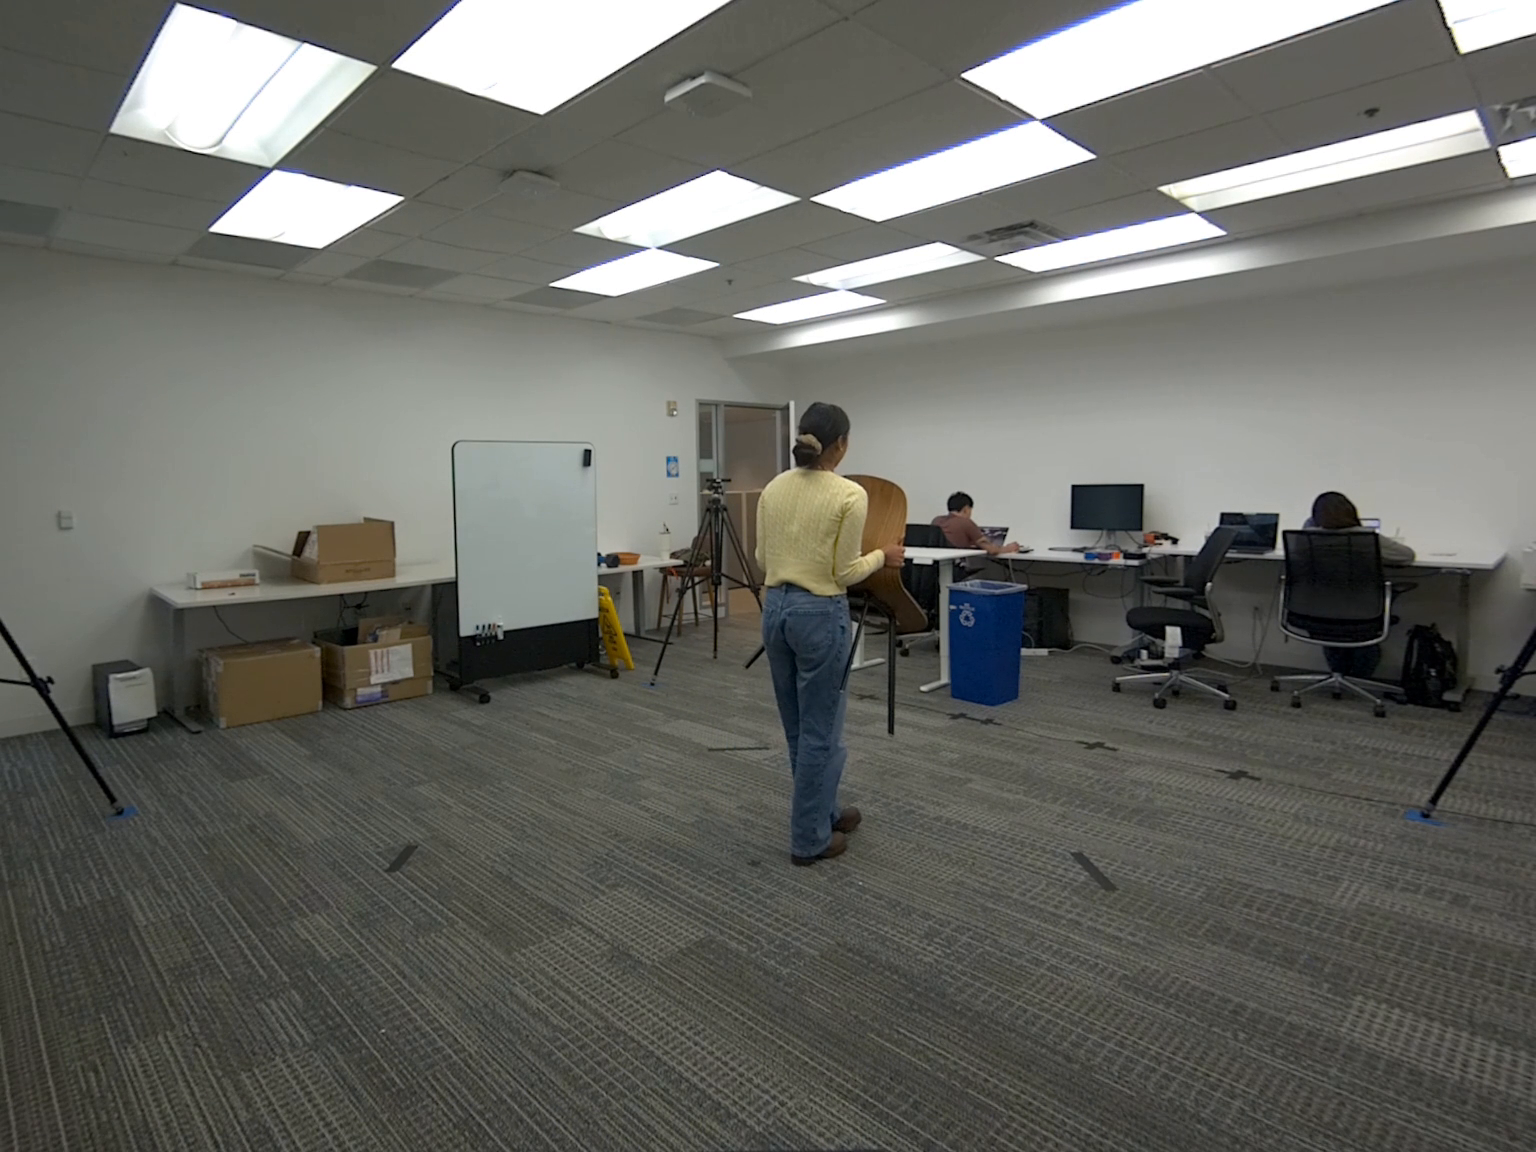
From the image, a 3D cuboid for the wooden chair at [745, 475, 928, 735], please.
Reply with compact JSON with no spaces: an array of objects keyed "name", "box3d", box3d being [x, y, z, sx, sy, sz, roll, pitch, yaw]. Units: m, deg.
[{"name":"wooden chair","box3d":[0.353,0.108,3.390,0.493,0.885,0.503,6,-21,39]}]
